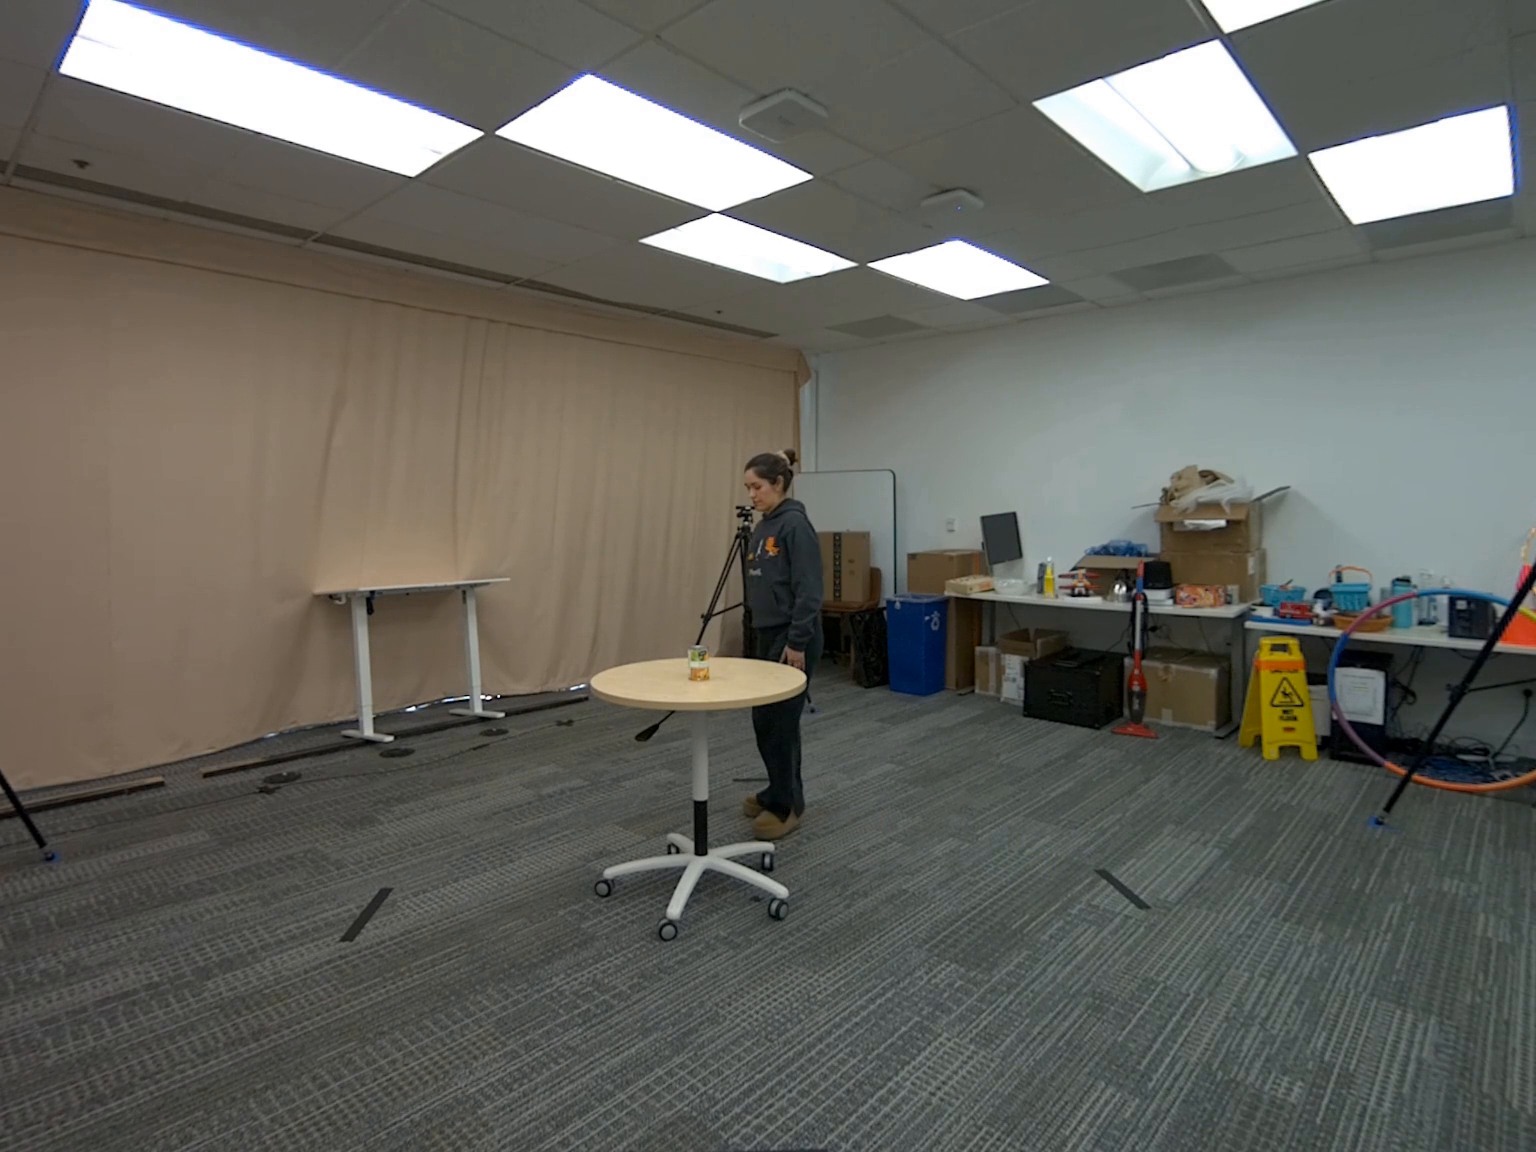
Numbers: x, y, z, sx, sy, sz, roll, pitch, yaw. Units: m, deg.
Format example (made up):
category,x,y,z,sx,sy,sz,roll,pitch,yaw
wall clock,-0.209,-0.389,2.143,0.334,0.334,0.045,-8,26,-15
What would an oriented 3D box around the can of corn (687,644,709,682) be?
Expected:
category,x,y,z,sx,sy,sz,roll,pitch,yaw
can of corn,-0.230,0.305,2.973,0.074,0.111,0.074,1,2,-2
